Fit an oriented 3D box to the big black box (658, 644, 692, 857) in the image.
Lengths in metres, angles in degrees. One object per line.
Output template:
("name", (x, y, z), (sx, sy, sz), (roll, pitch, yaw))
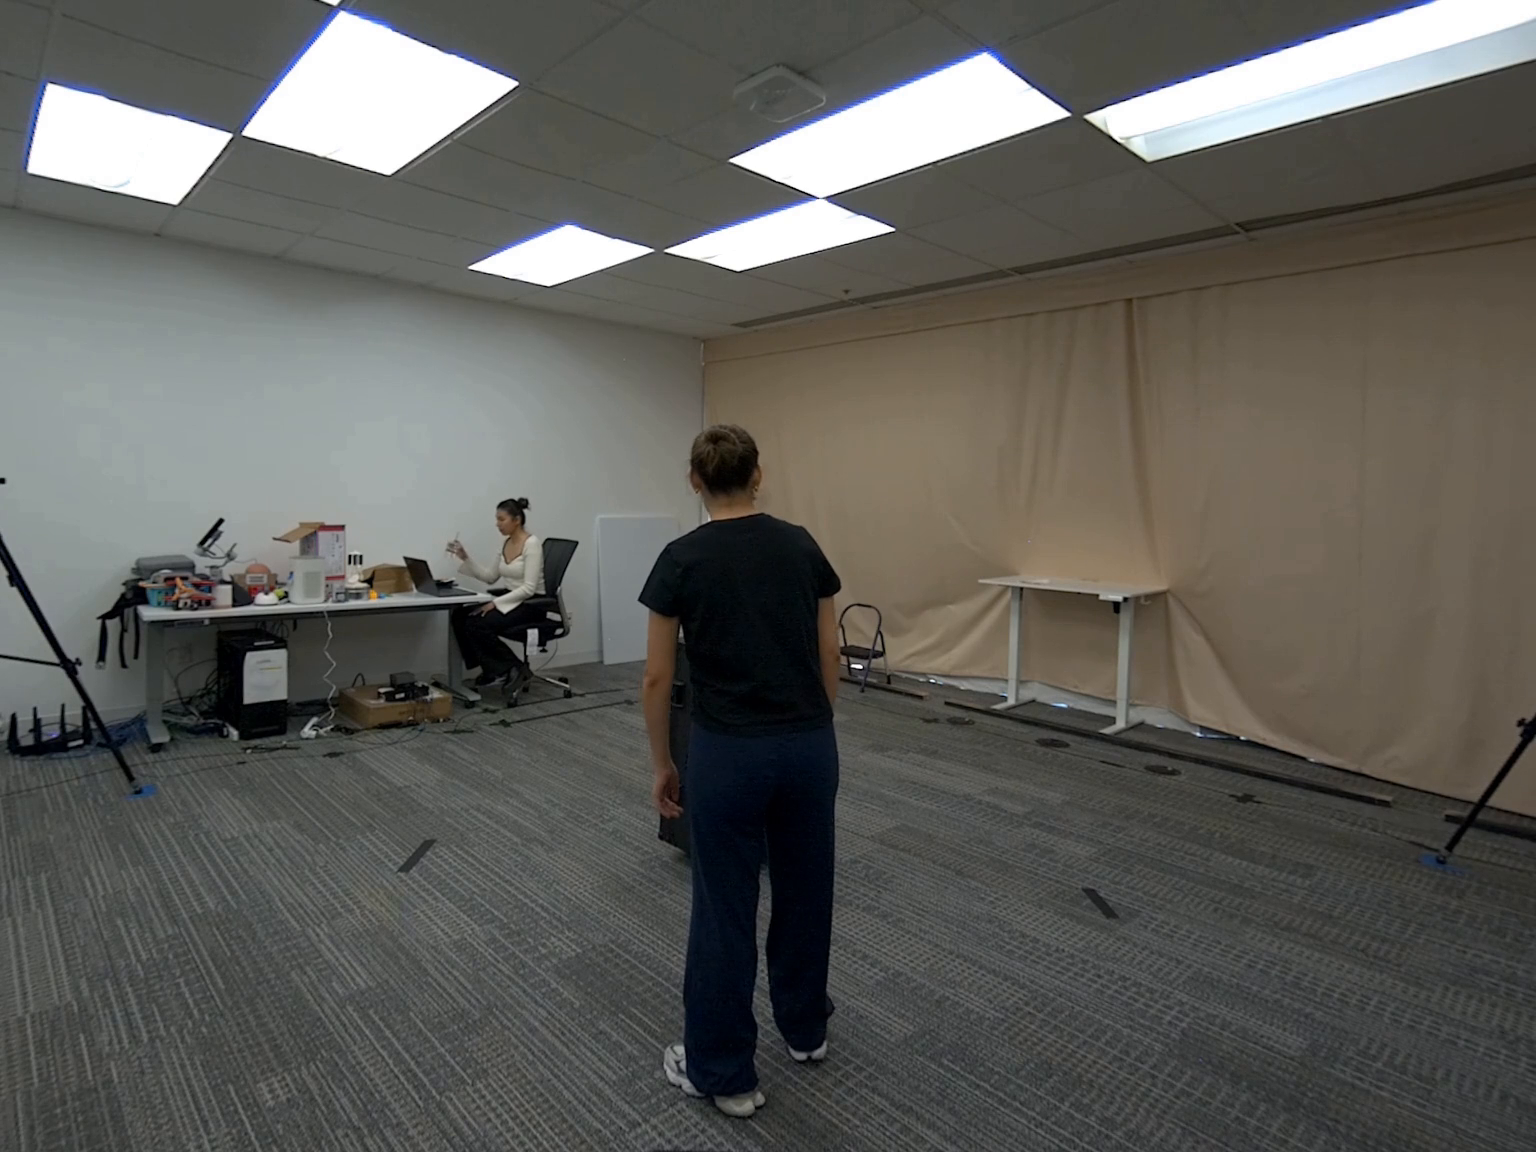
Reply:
("big black box", (-0.106, 0.677, 3.237), (0.509, 0.859, 0.406), (-2, 5, -42))
